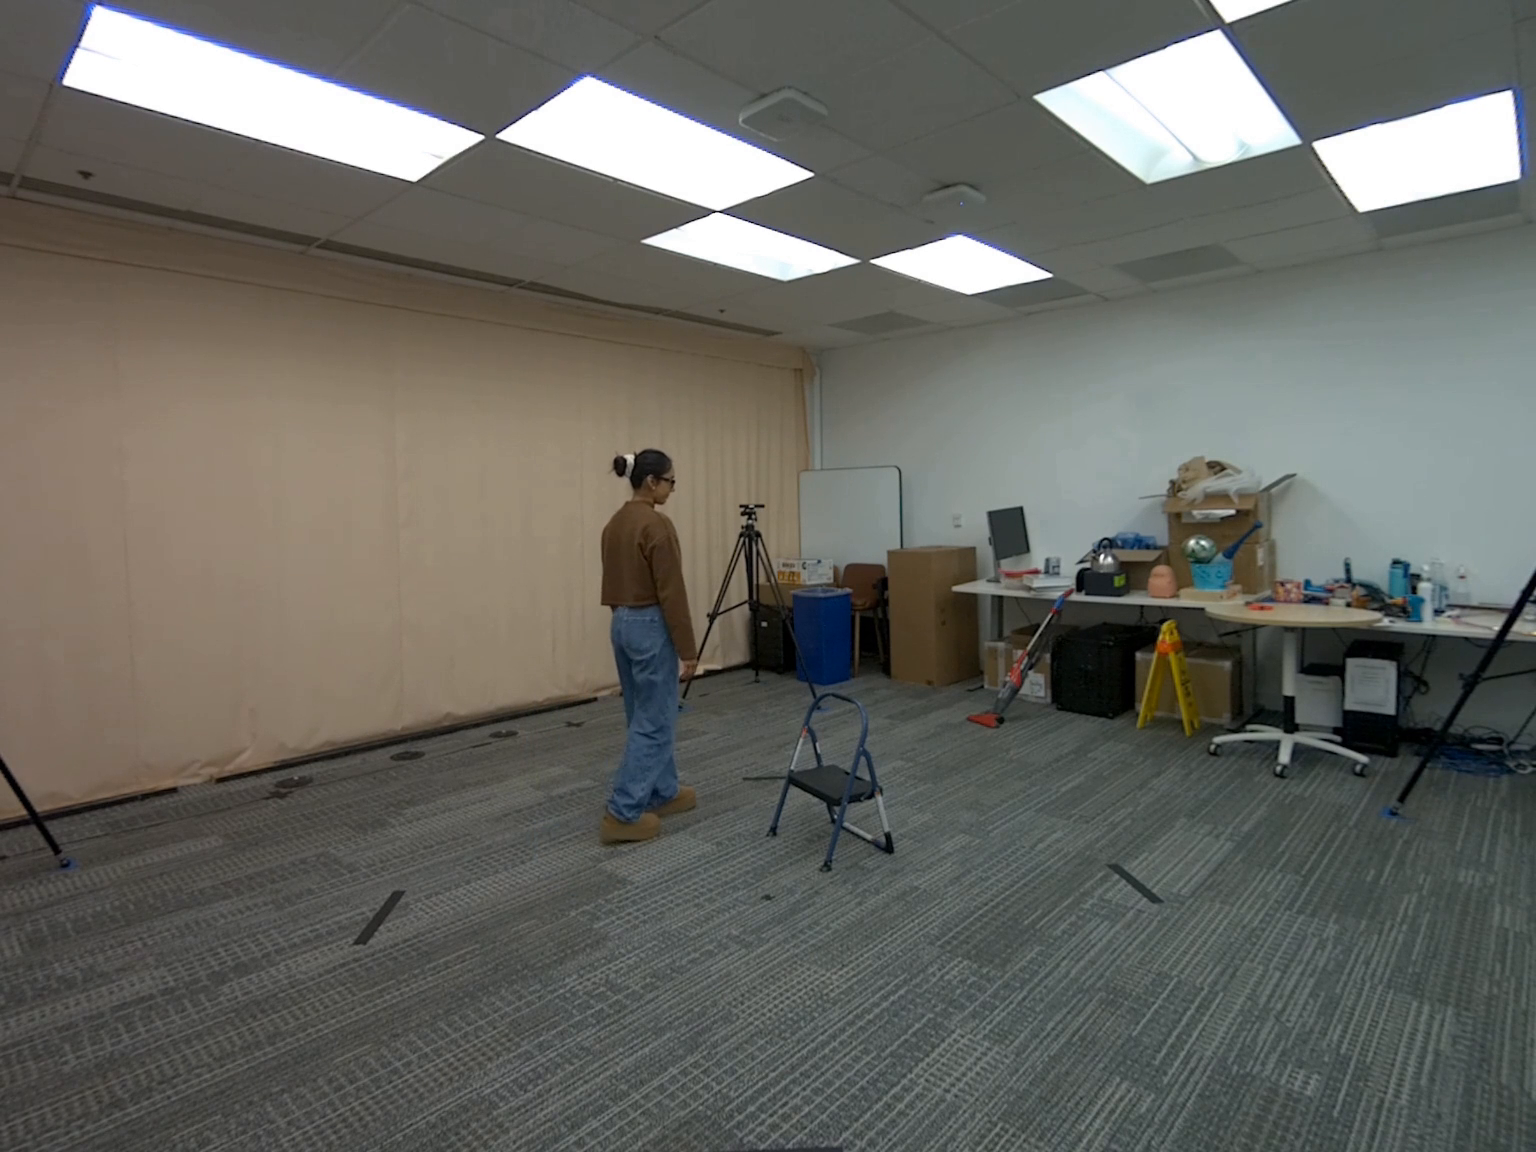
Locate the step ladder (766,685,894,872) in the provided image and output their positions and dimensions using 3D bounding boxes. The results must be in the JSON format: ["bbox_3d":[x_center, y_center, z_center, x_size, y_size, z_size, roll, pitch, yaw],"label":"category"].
[{"bbox_3d":[0.254,0.793,3.428,0.340,0.605,0.443,-2,4,-30],"label":"step ladder"}]
